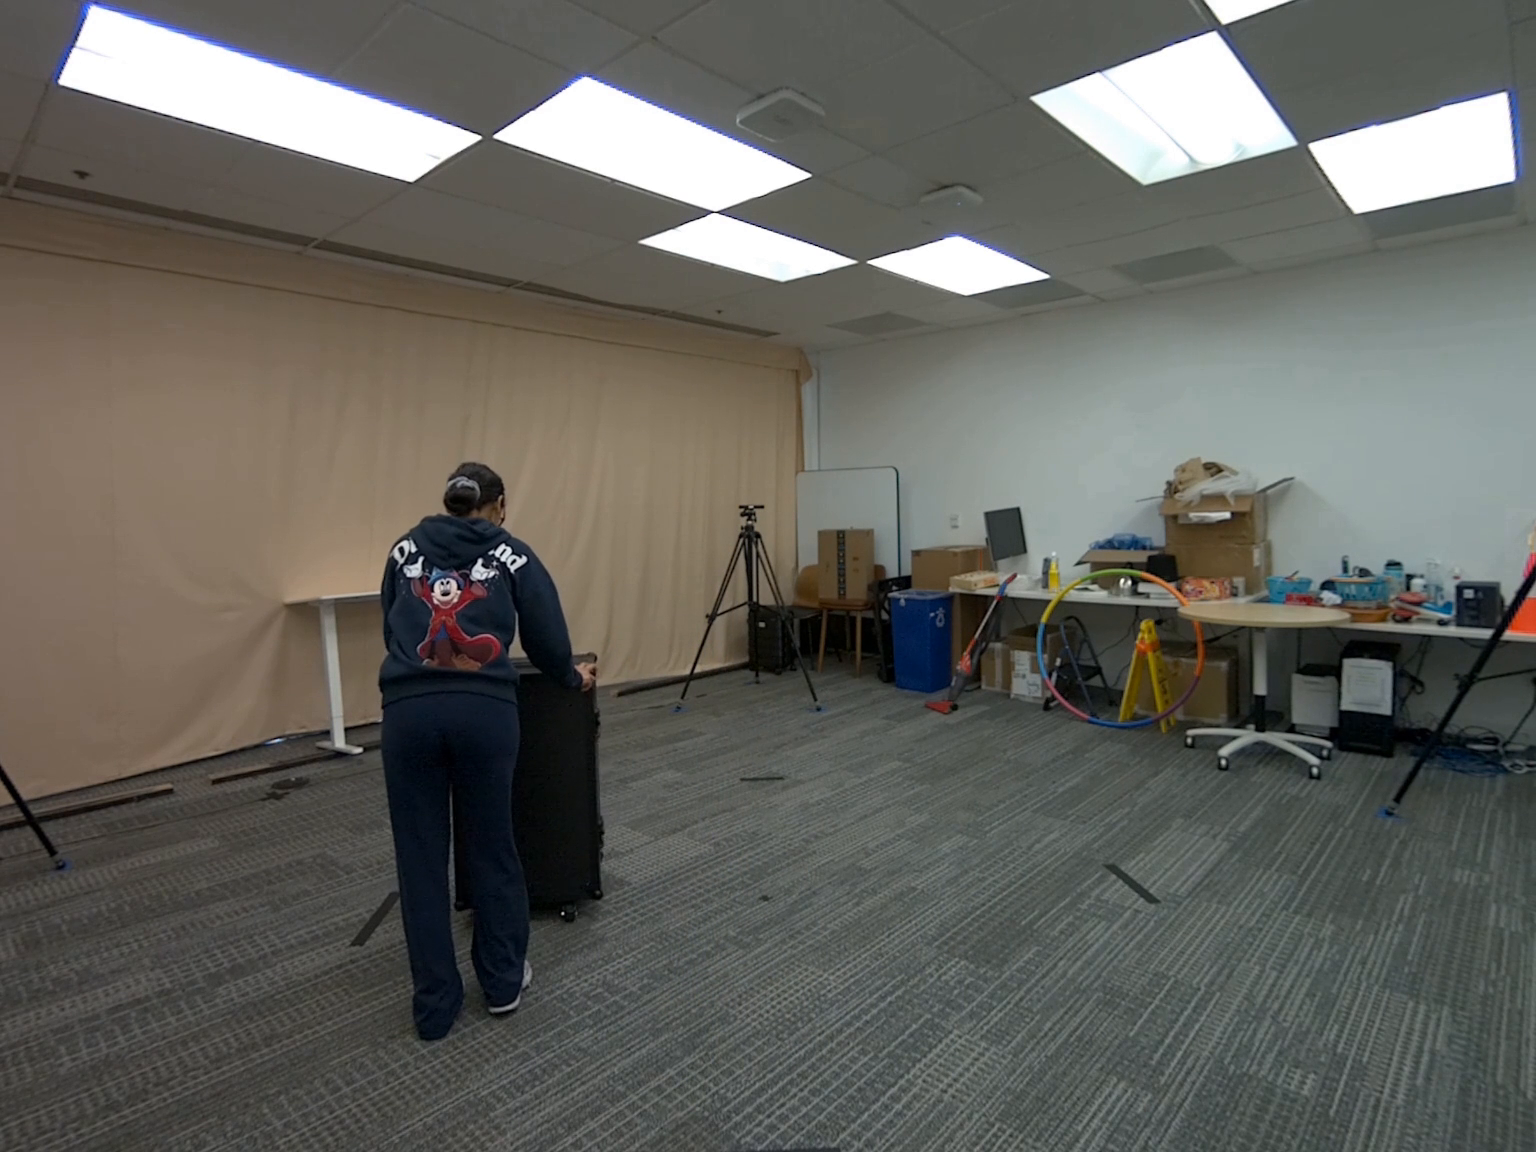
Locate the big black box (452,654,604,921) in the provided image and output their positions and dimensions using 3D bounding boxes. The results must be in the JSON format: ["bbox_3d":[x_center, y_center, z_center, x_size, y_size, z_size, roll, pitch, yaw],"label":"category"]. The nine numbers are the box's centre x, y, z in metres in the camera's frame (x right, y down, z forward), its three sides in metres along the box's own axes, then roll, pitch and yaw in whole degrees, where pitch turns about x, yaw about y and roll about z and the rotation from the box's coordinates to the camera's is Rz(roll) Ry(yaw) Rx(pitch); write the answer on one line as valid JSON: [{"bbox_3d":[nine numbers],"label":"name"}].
[{"bbox_3d":[-0.848,0.734,2.985,0.517,0.860,0.400,-2,3,-9],"label":"big black box"}]
